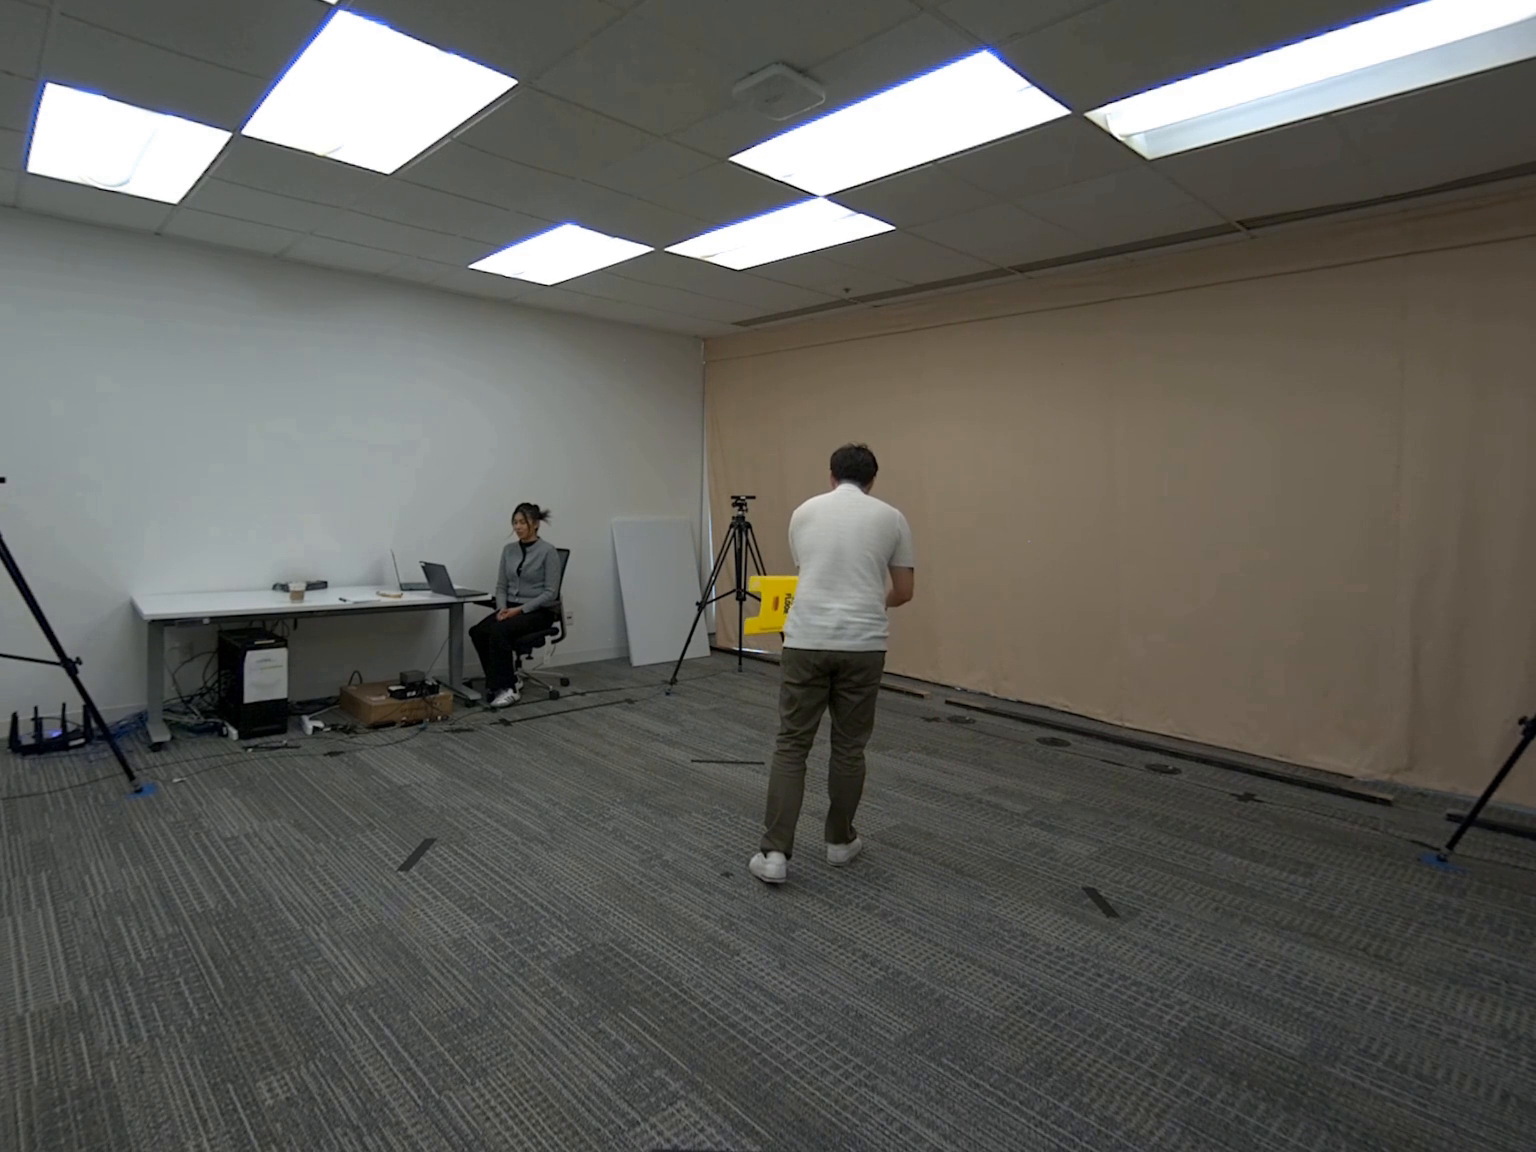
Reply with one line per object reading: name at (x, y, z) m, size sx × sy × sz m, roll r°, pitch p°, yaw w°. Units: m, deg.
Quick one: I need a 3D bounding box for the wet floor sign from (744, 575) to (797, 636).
wet floor sign at (0.235, 0.145, 3.791) m, size 0.659 × 0.285 × 0.281 m, roll -8°, pitch -22°, yaw 42°
